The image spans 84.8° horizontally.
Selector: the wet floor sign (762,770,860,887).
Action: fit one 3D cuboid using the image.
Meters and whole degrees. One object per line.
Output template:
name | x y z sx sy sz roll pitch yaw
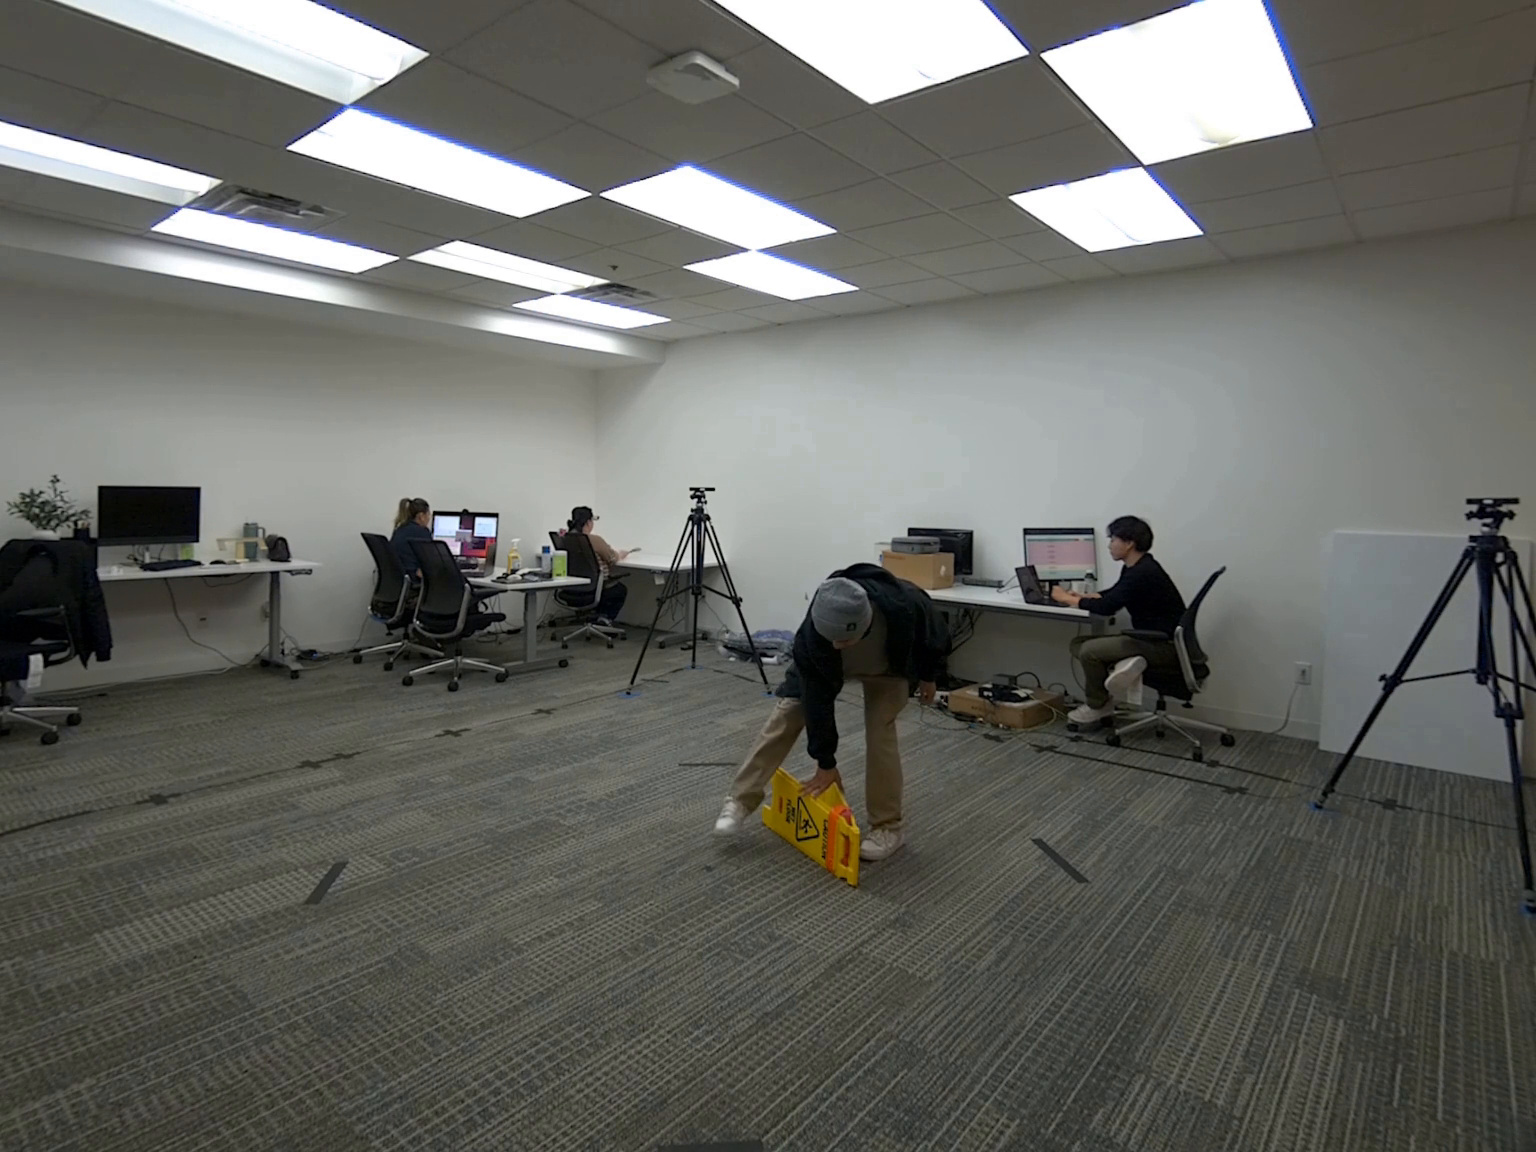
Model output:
wet floor sign | 0.207 0.934 3.277 0.285 0.280 0.662 0 9 -18
